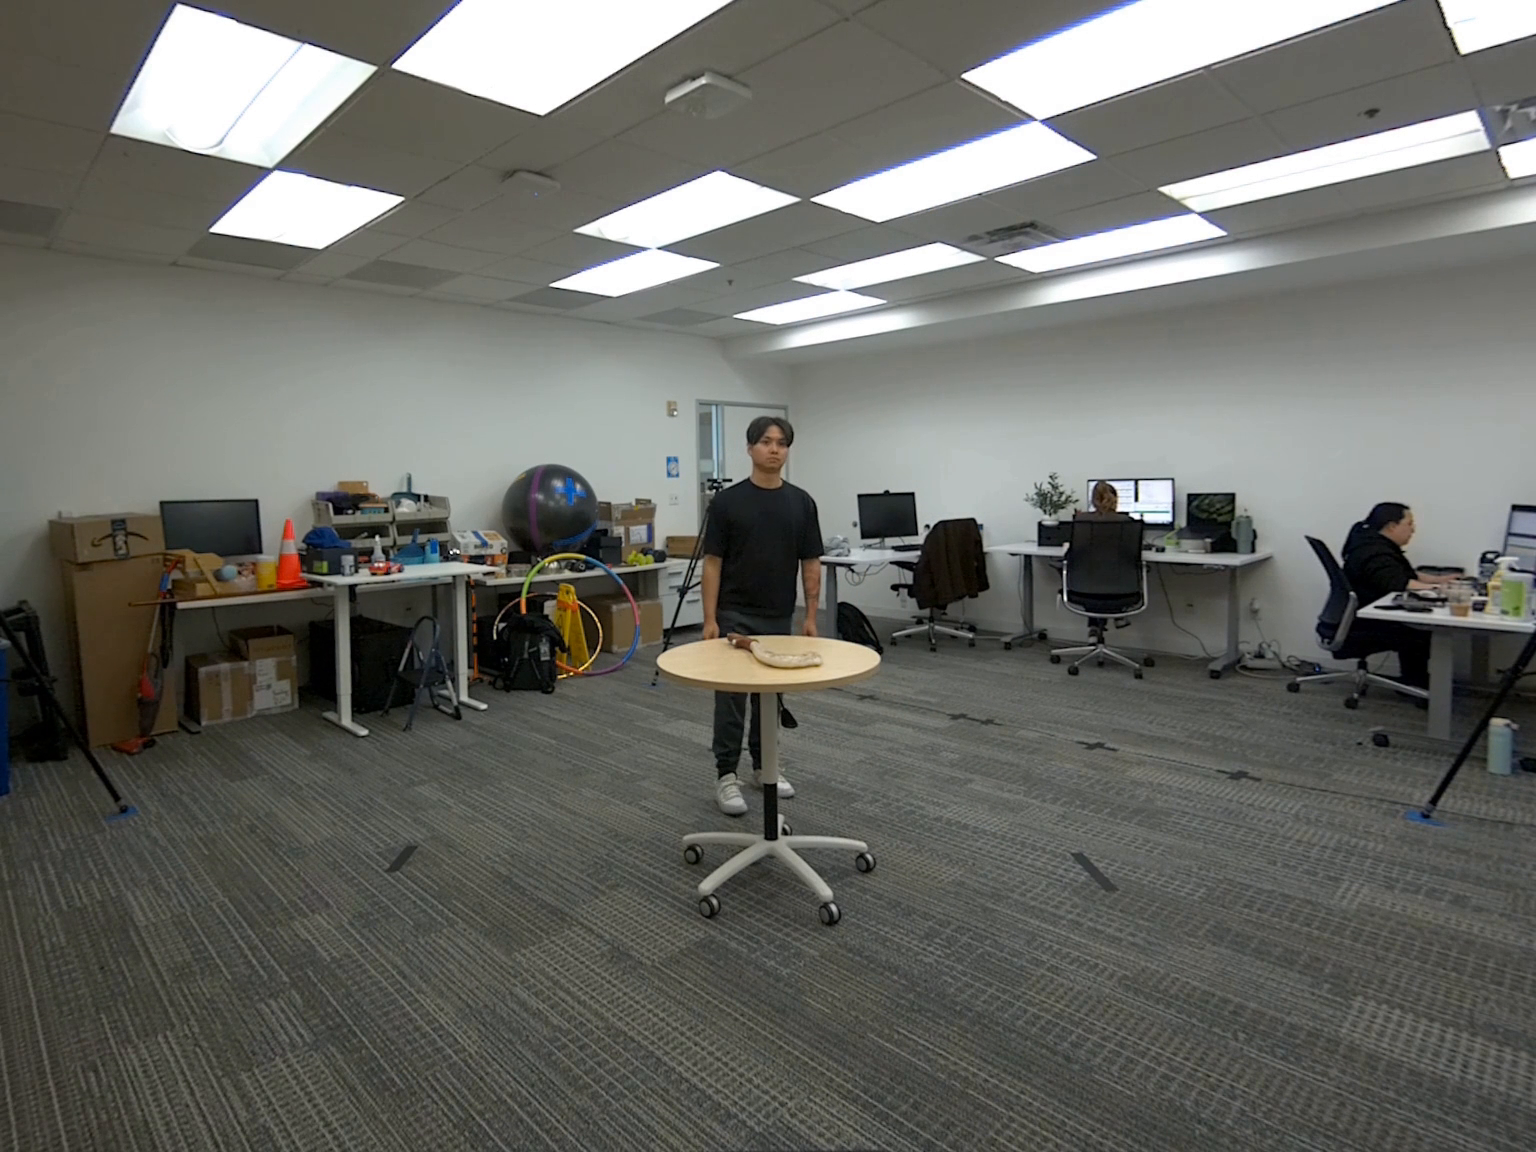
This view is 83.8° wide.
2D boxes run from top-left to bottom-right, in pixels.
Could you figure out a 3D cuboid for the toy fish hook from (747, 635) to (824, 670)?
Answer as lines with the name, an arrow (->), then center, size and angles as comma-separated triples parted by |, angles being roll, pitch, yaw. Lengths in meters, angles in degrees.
toy fish hook -> 0.018, 0.264, 2.996 | 0.220, 0.048, 0.519 | 0, 7, -24
